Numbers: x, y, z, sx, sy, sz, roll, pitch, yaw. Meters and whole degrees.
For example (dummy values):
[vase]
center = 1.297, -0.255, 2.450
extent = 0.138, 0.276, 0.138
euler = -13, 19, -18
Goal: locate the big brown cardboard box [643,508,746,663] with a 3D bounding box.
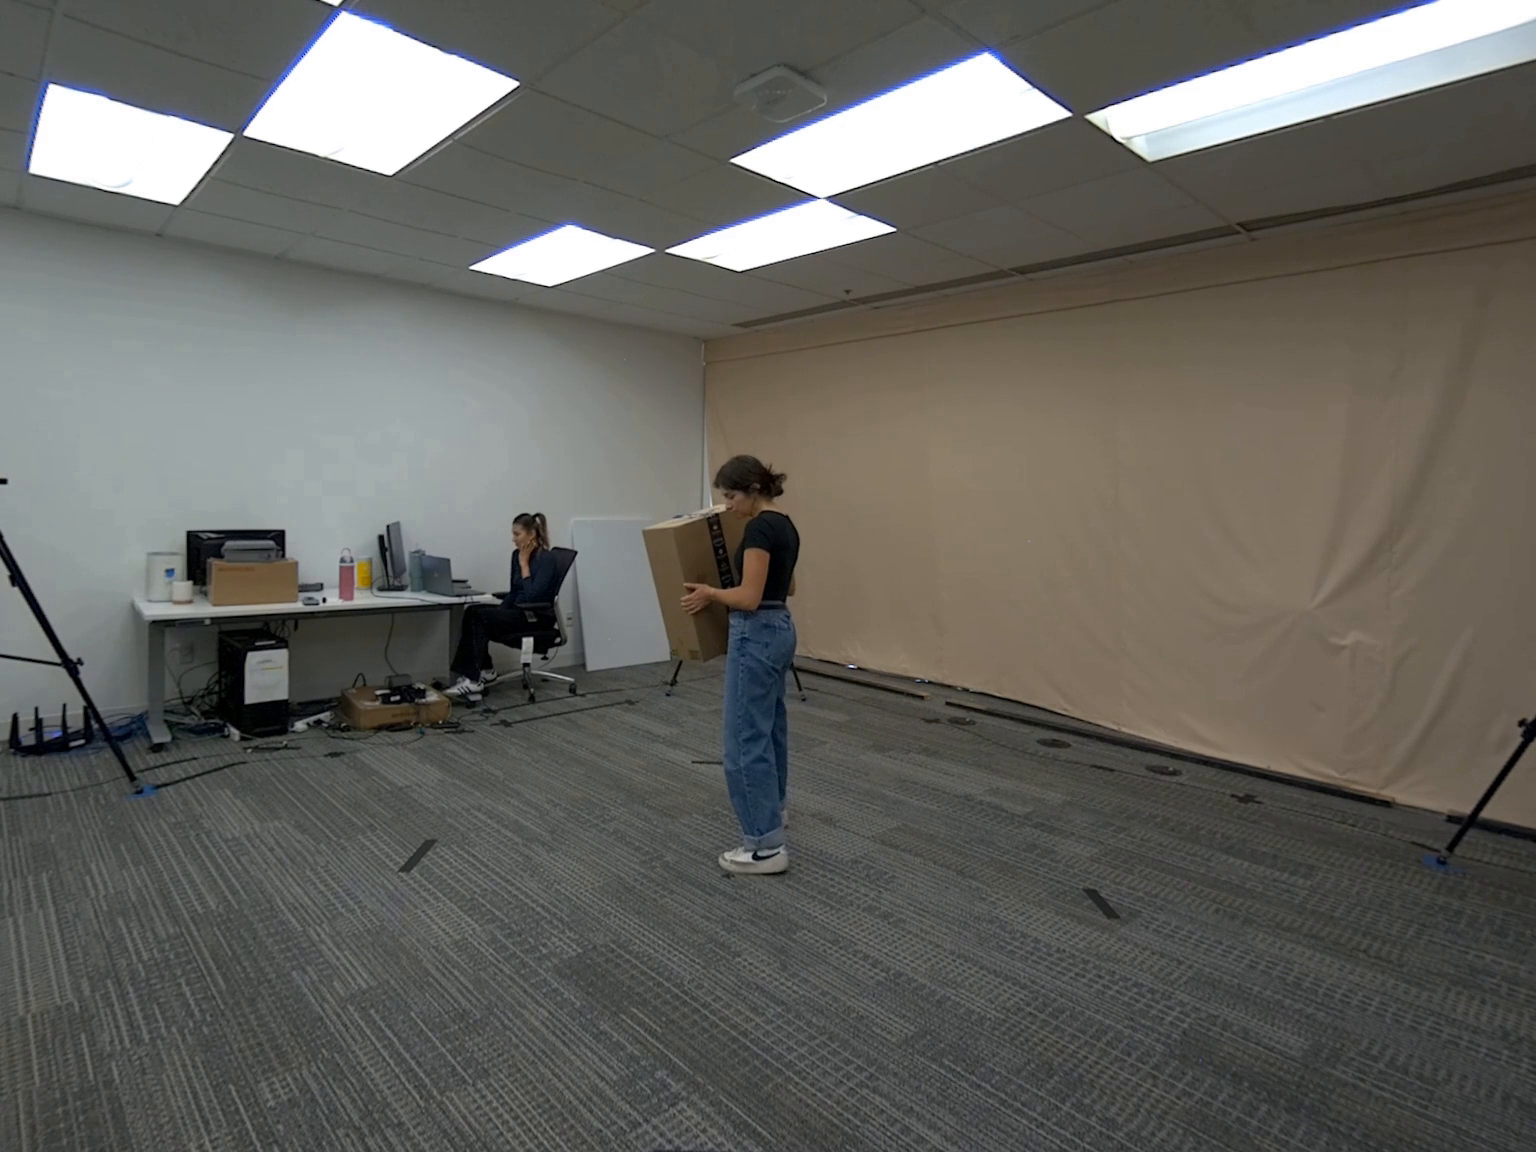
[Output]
[big brown cardboard box]
center = -0.249, 0.013, 3.548
extent = 0.411, 0.585, 0.238
euler = -19, 11, -40
